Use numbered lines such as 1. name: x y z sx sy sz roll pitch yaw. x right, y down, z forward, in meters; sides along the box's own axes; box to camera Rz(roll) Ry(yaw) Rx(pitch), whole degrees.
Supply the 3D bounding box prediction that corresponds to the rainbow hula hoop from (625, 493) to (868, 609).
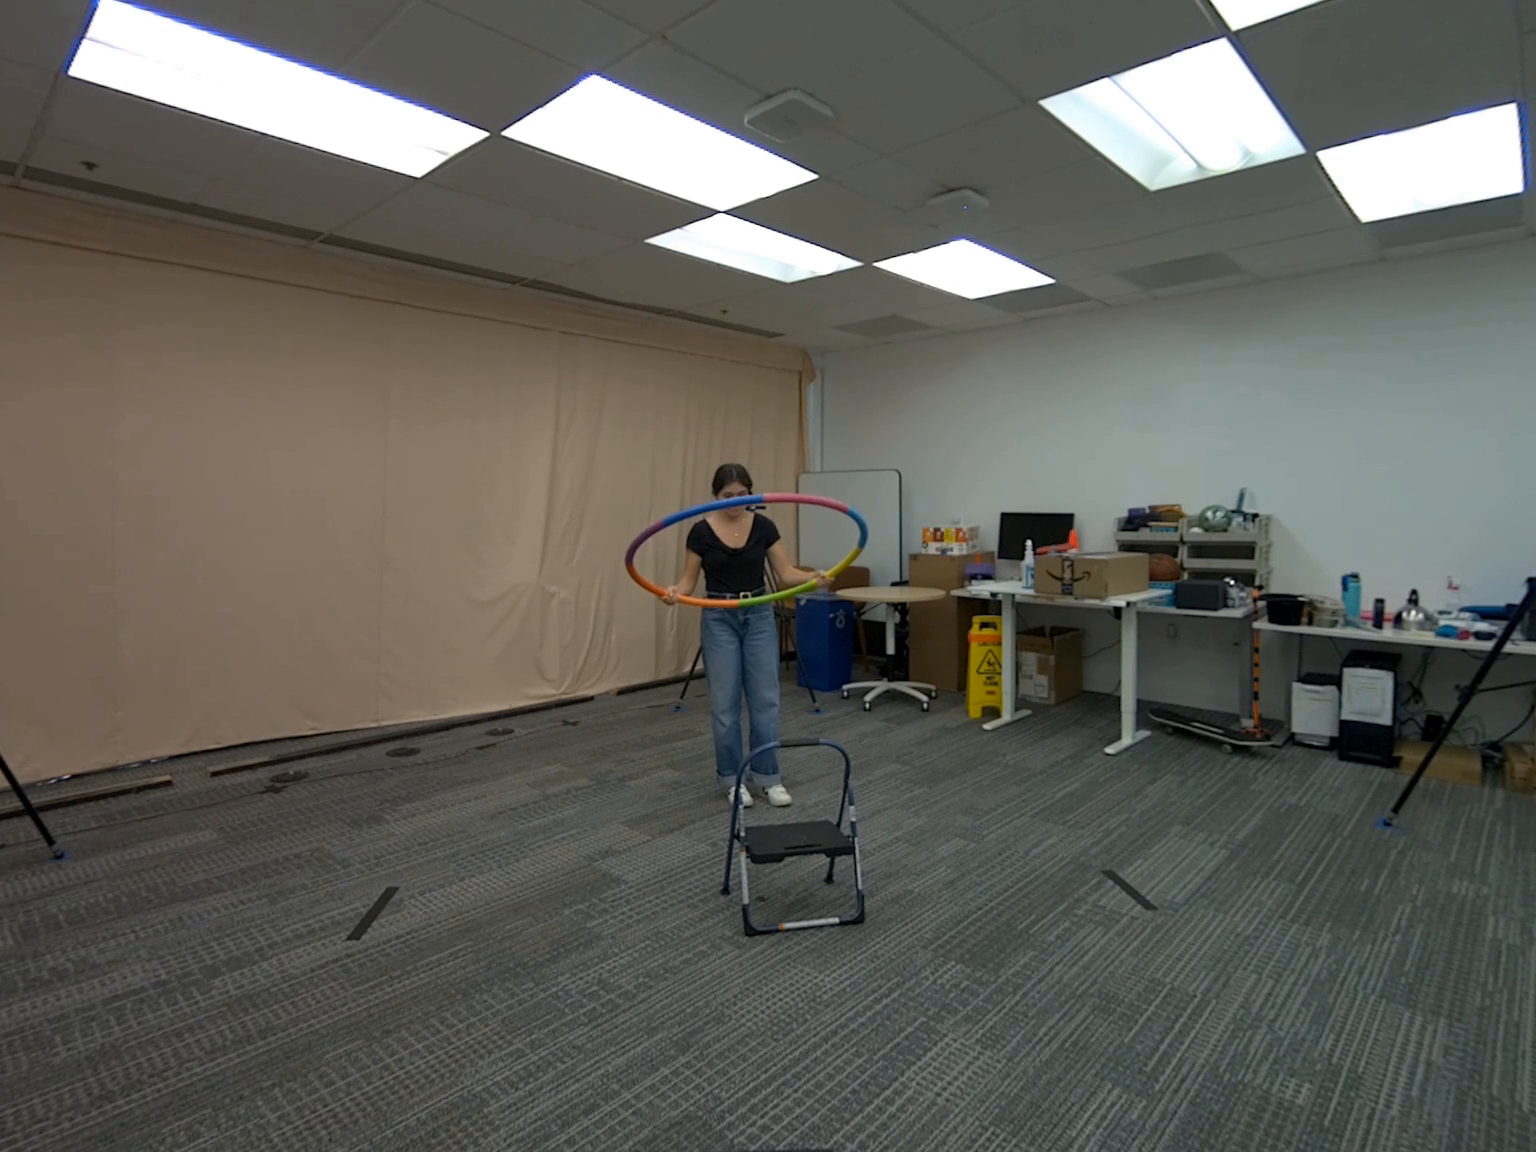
1. rainbow hula hoop: -0.086 -0.086 3.407 0.975 0.036 0.966 -5 -23 -4
